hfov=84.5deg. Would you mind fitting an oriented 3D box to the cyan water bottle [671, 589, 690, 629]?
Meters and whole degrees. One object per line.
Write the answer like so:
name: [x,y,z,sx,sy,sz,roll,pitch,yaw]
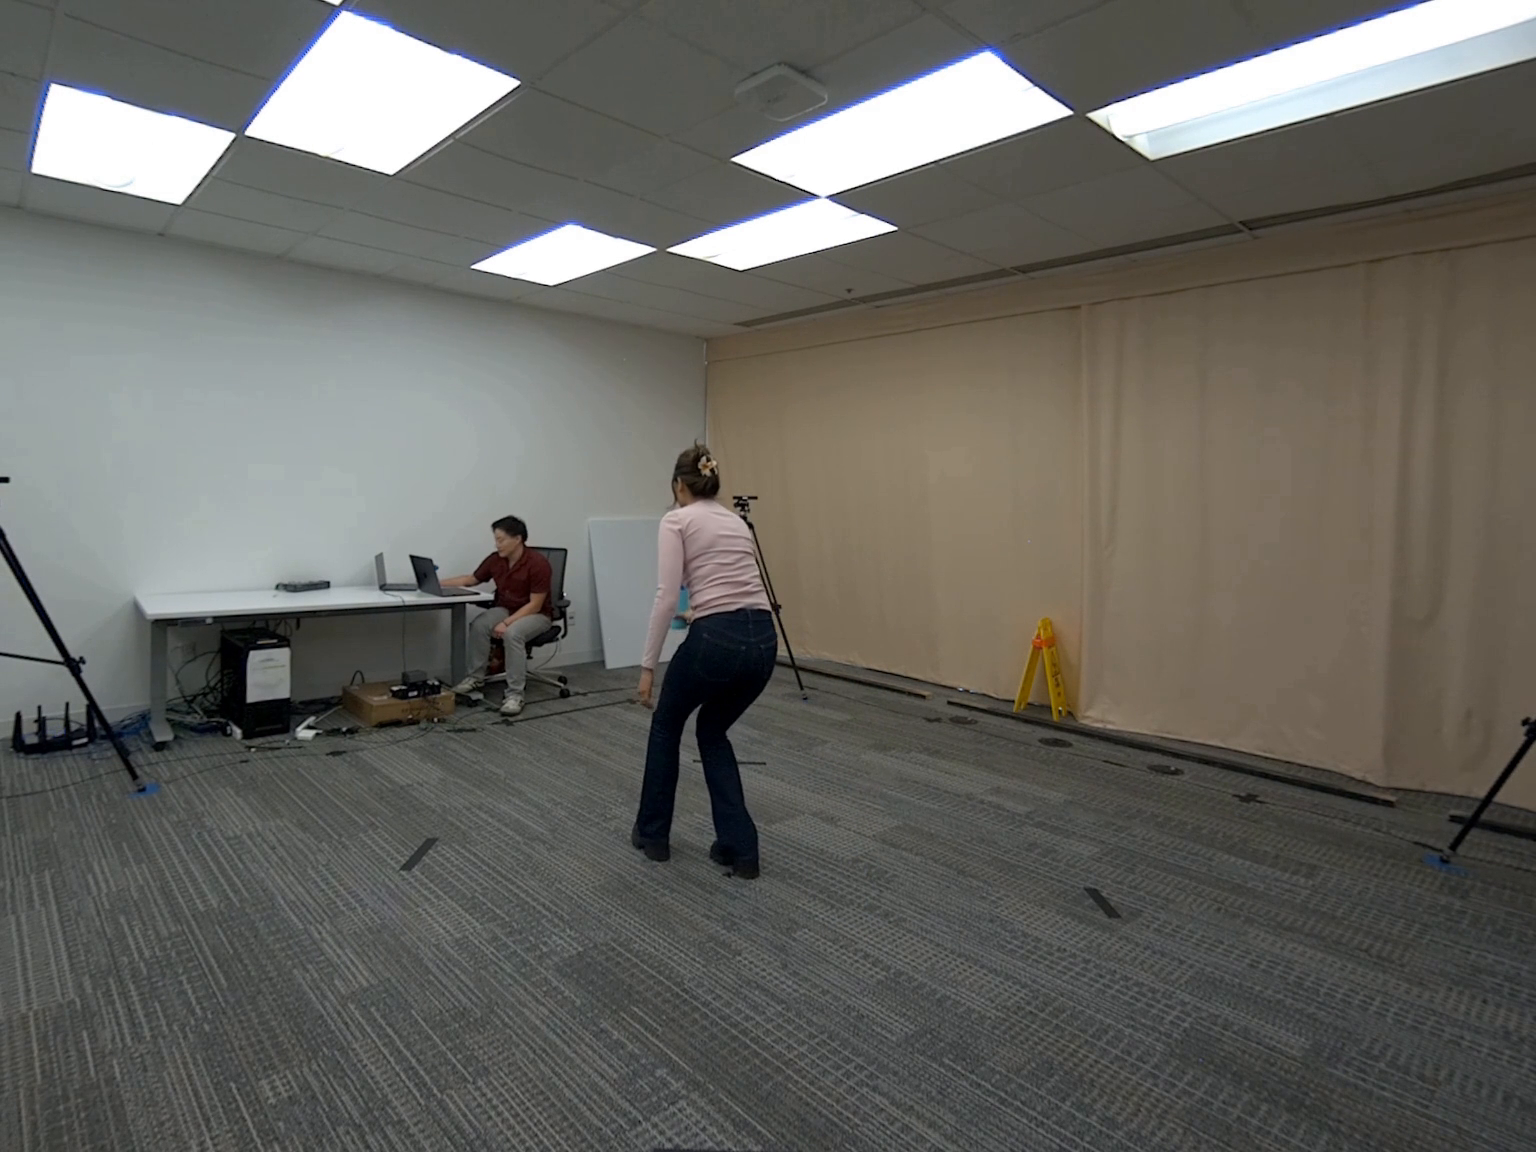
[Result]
cyan water bottle: [-0.397,0.093,3.696,0.092,0.282,0.092,3,4,-2]
